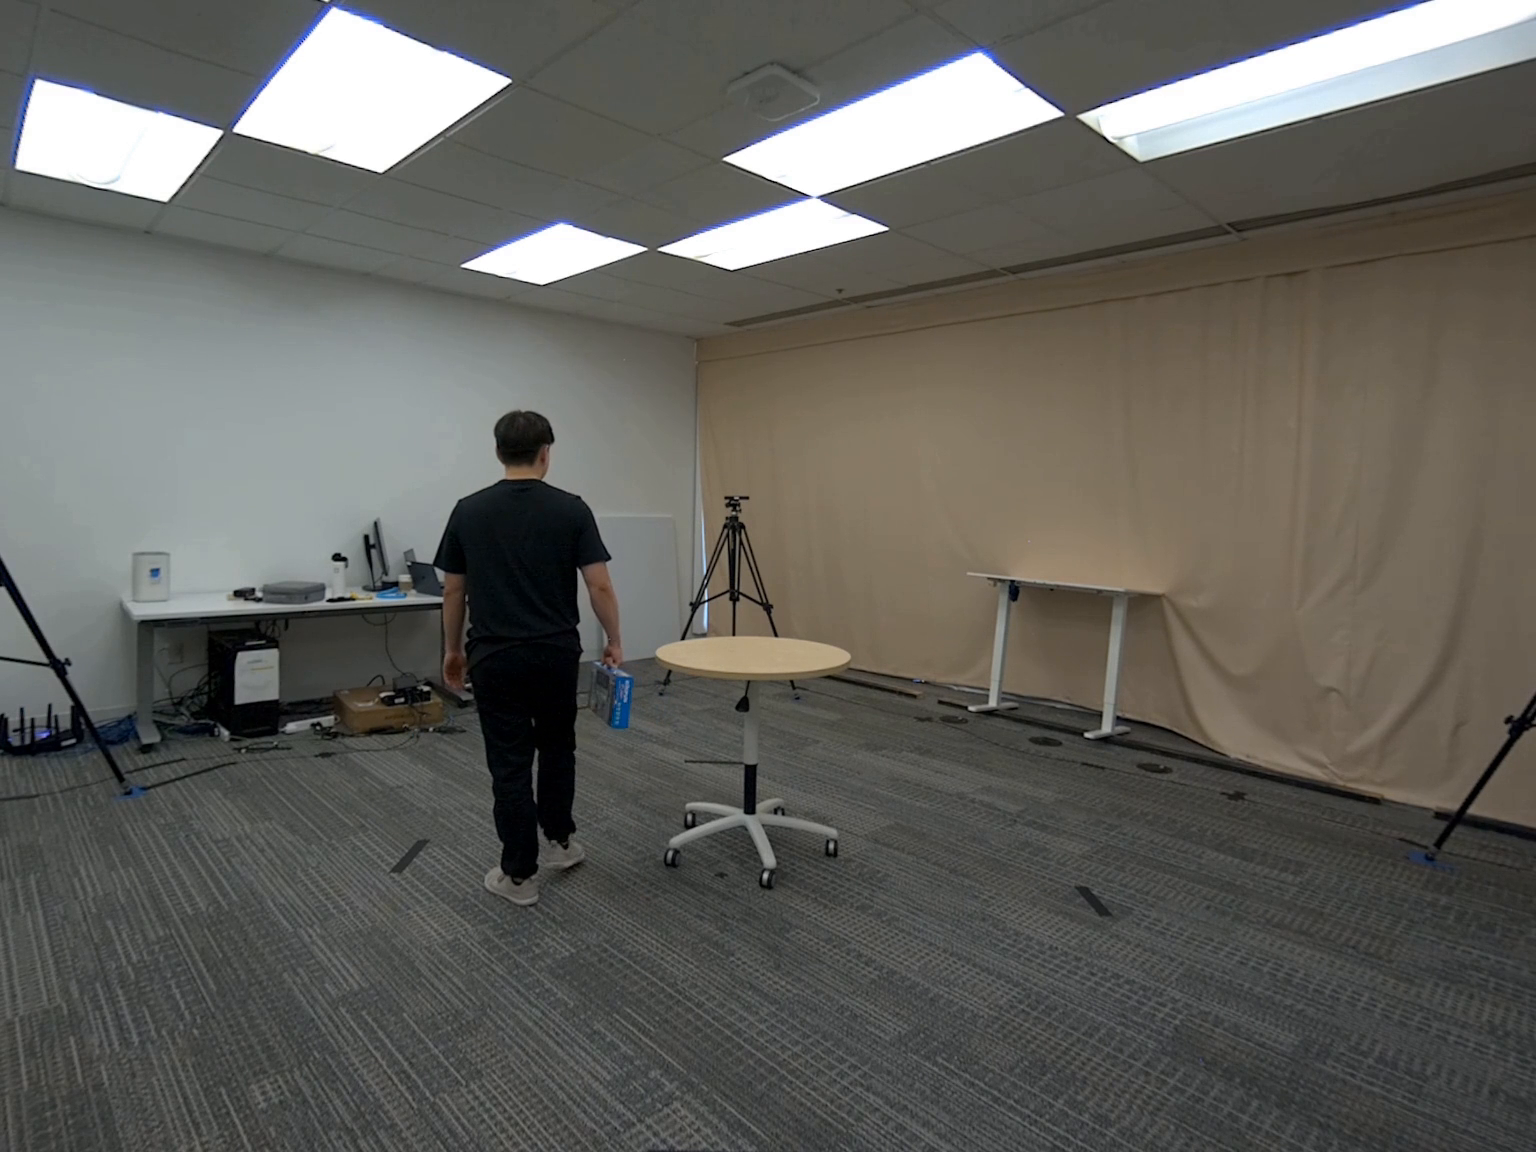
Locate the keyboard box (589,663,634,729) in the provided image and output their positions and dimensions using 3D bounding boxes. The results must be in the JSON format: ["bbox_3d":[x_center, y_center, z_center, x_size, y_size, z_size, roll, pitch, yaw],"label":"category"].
[{"bbox_3d":[-0.562,0.418,2.986,0.058,0.176,0.443,6,-1,-19],"label":"keyboard box"}]
